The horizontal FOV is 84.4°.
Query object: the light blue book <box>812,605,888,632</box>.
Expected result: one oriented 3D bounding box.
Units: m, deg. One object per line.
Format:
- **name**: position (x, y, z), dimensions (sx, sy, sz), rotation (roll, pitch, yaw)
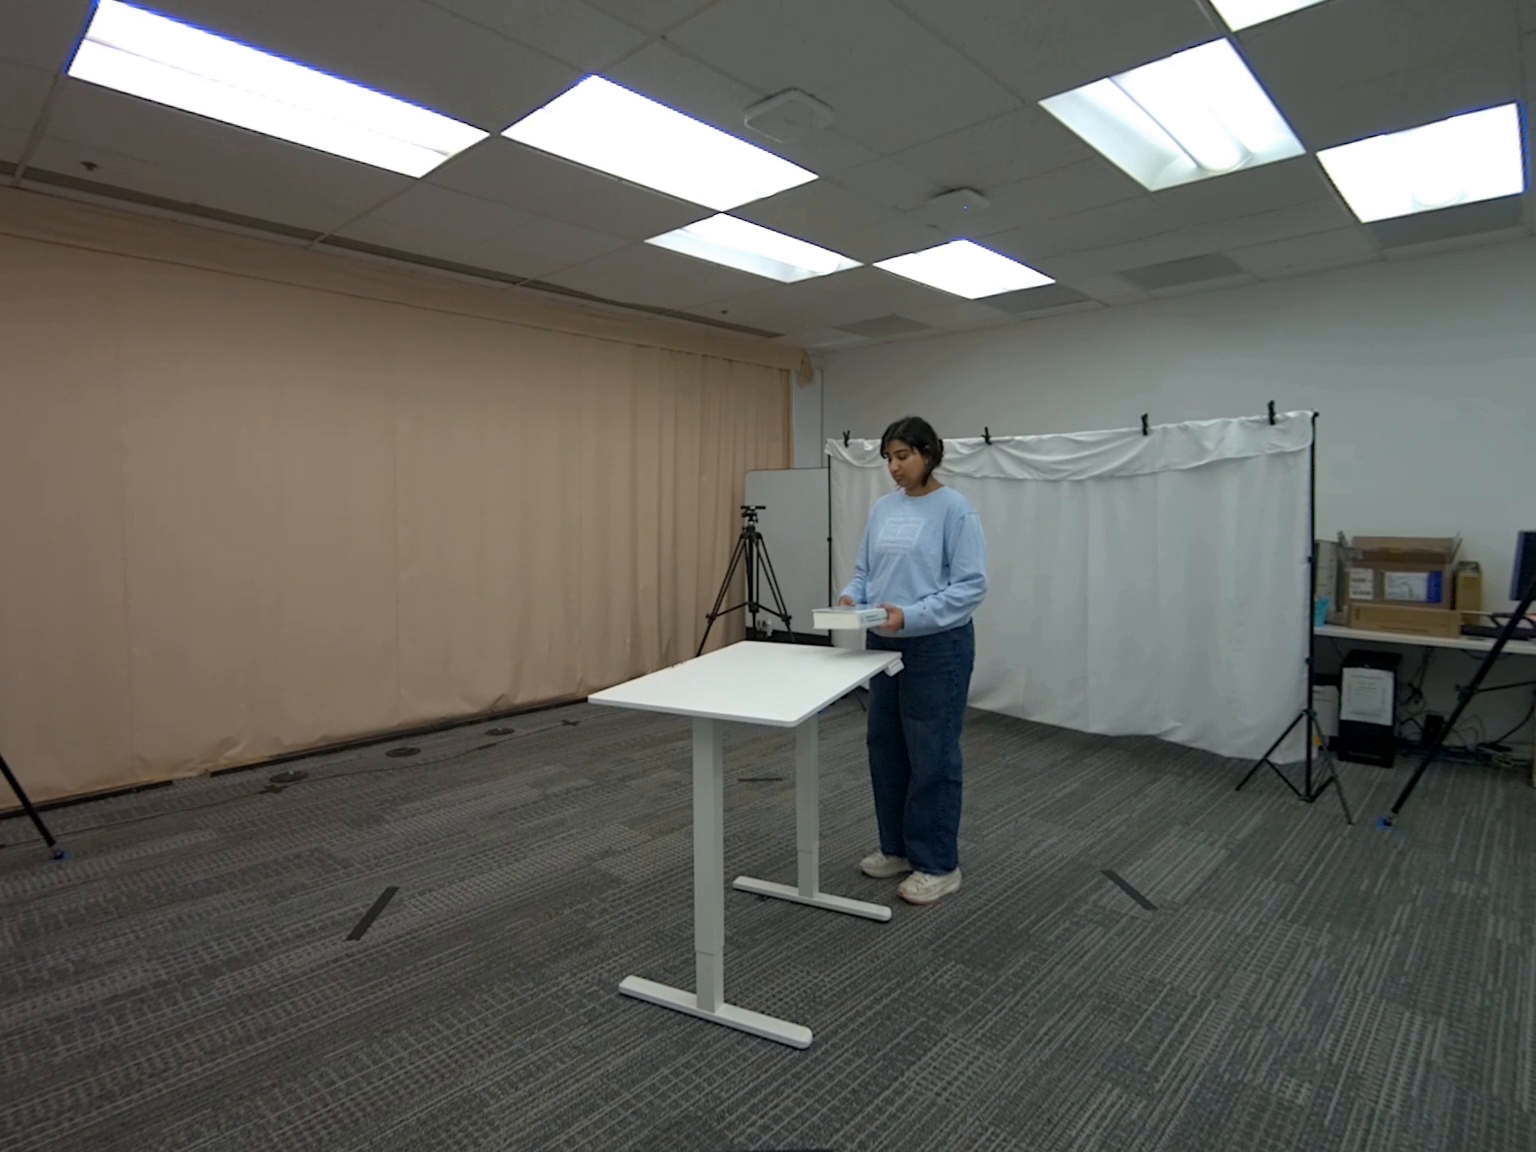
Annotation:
- **light blue book**: position (0.299, 0.143, 2.875), dimensions (0.197, 0.059, 0.253), rotation (-1, 1, 44)
